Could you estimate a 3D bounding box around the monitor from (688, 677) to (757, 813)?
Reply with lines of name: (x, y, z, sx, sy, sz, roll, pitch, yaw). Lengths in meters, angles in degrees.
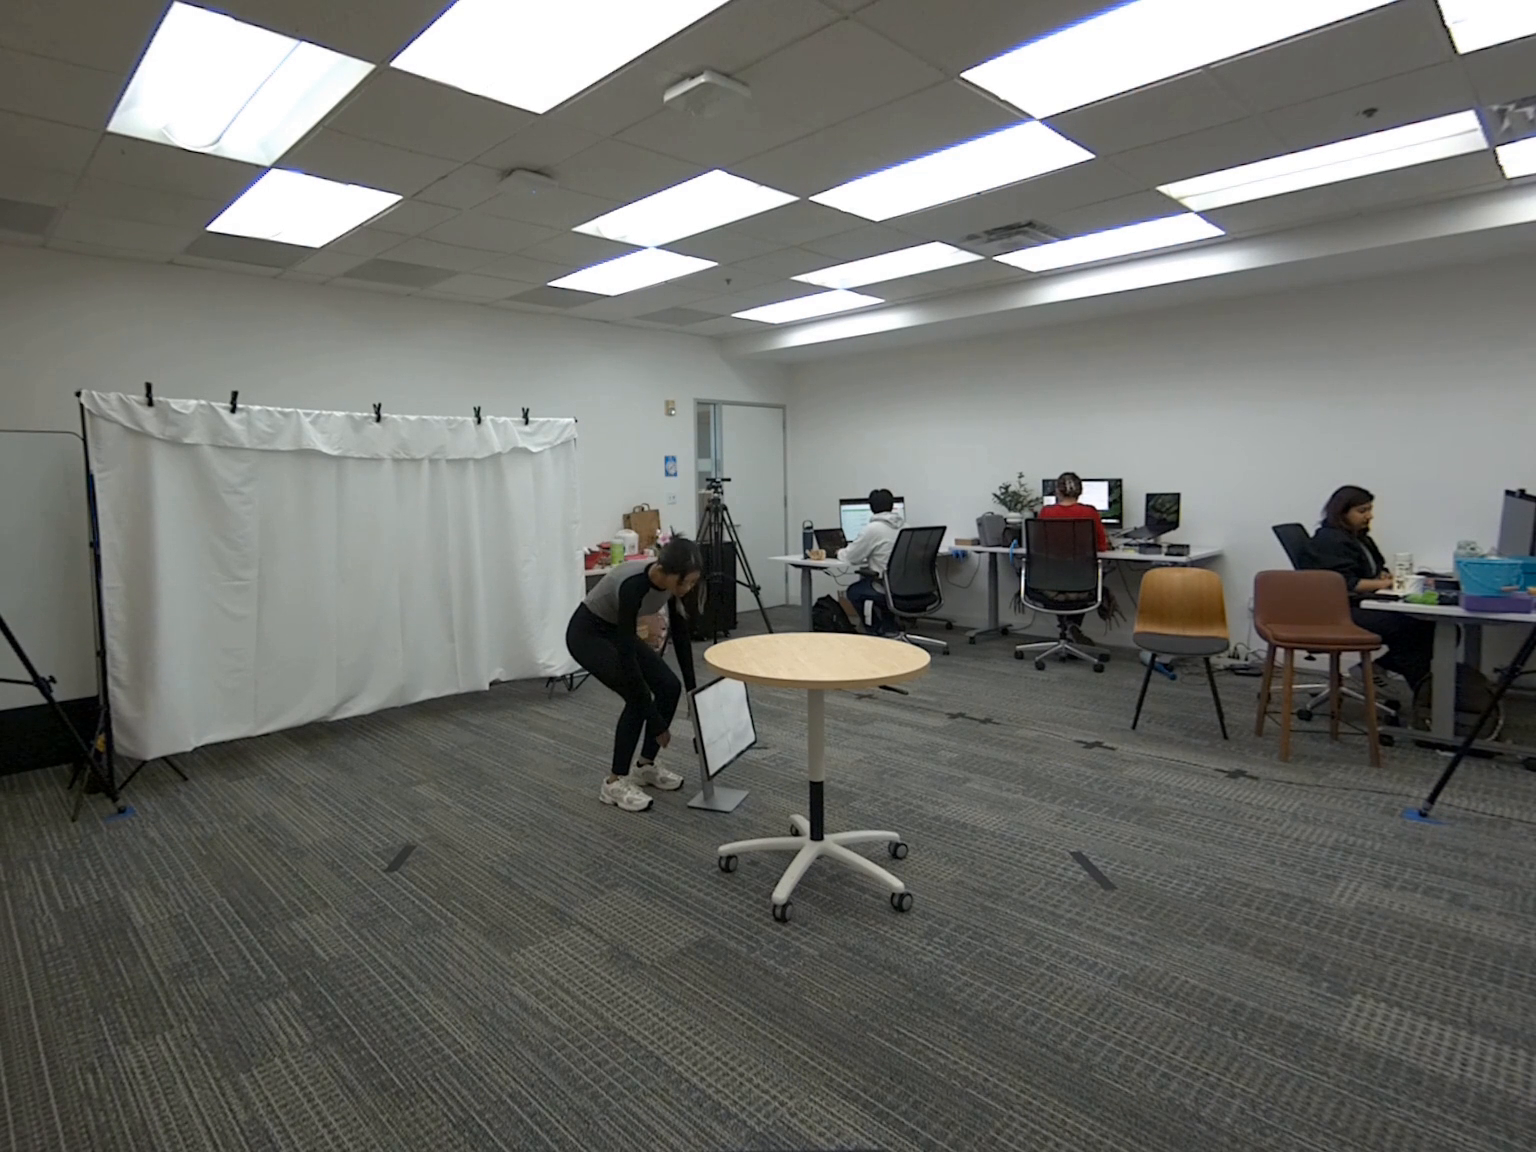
monitor: (-0.220, 0.713, 3.705, 0.190, 0.521, 0.531, 1, 5, 18)
